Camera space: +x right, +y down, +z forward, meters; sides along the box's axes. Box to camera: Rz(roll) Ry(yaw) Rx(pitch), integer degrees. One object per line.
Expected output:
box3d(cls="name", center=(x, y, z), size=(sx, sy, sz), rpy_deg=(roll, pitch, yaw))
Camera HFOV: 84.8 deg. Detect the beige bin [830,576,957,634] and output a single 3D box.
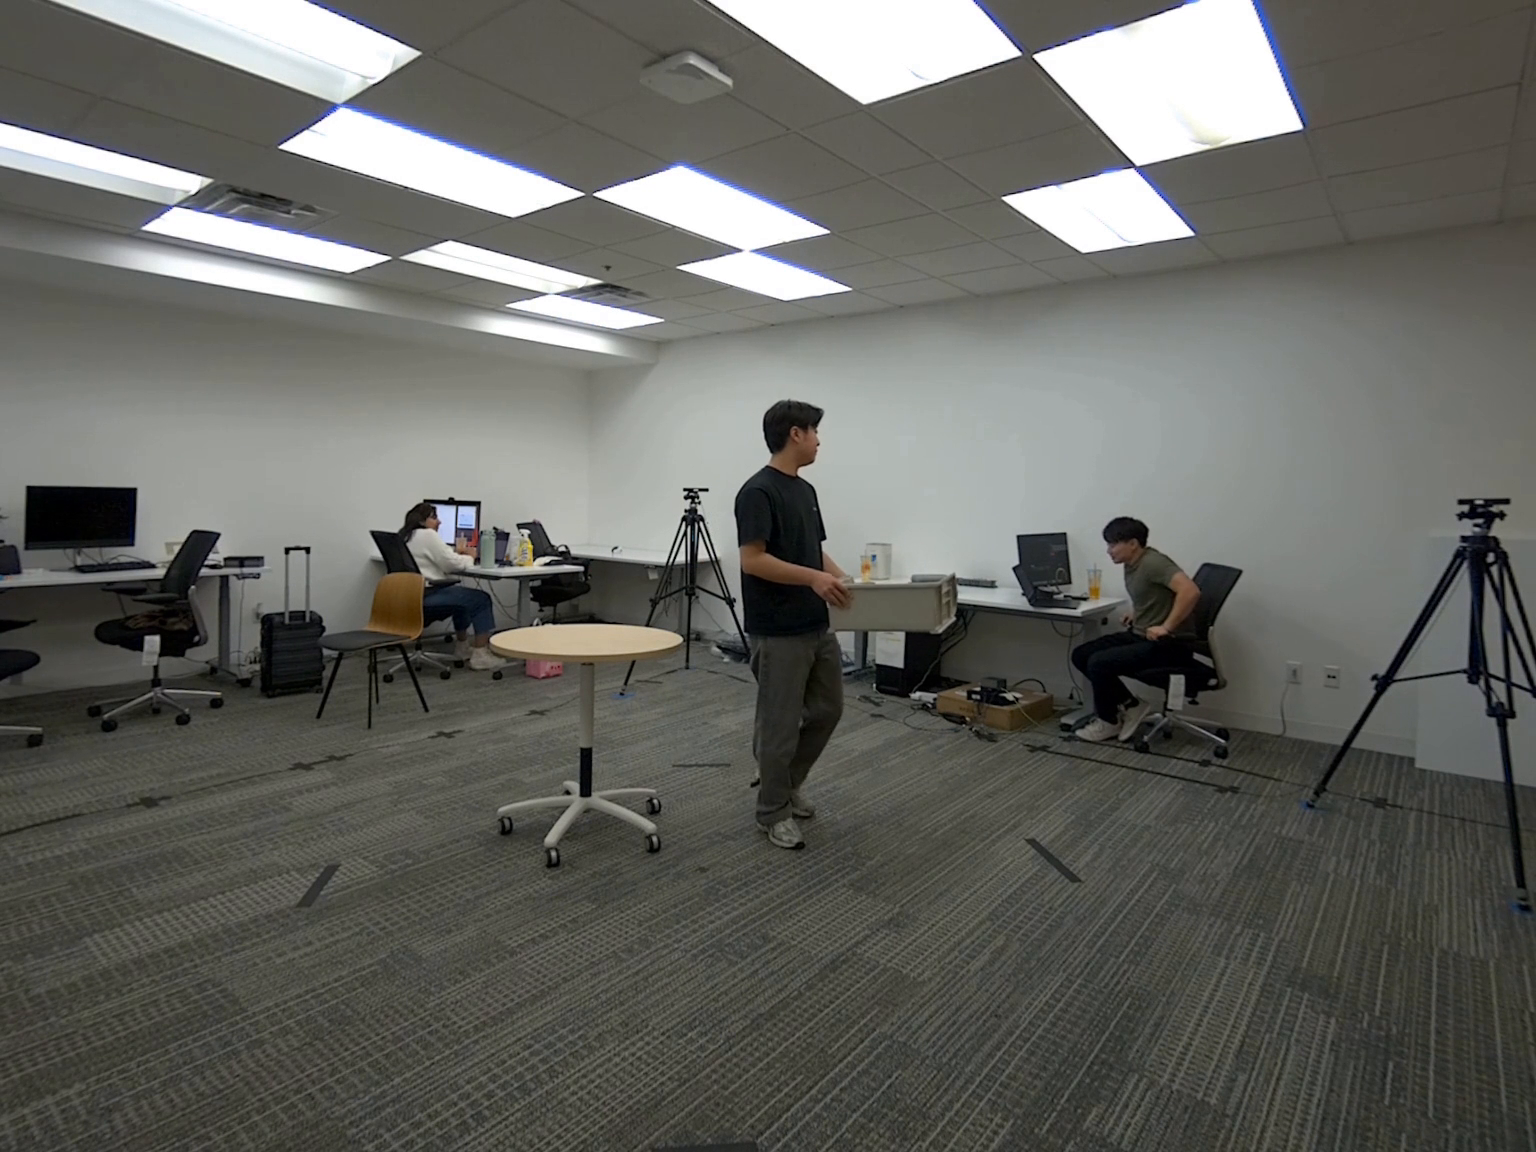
box3d(cls="beige bin", center=(0.463, 0.097, 3.202), size=(0.433, 0.188, 0.370), rpy_deg=(-1, 8, 25))
